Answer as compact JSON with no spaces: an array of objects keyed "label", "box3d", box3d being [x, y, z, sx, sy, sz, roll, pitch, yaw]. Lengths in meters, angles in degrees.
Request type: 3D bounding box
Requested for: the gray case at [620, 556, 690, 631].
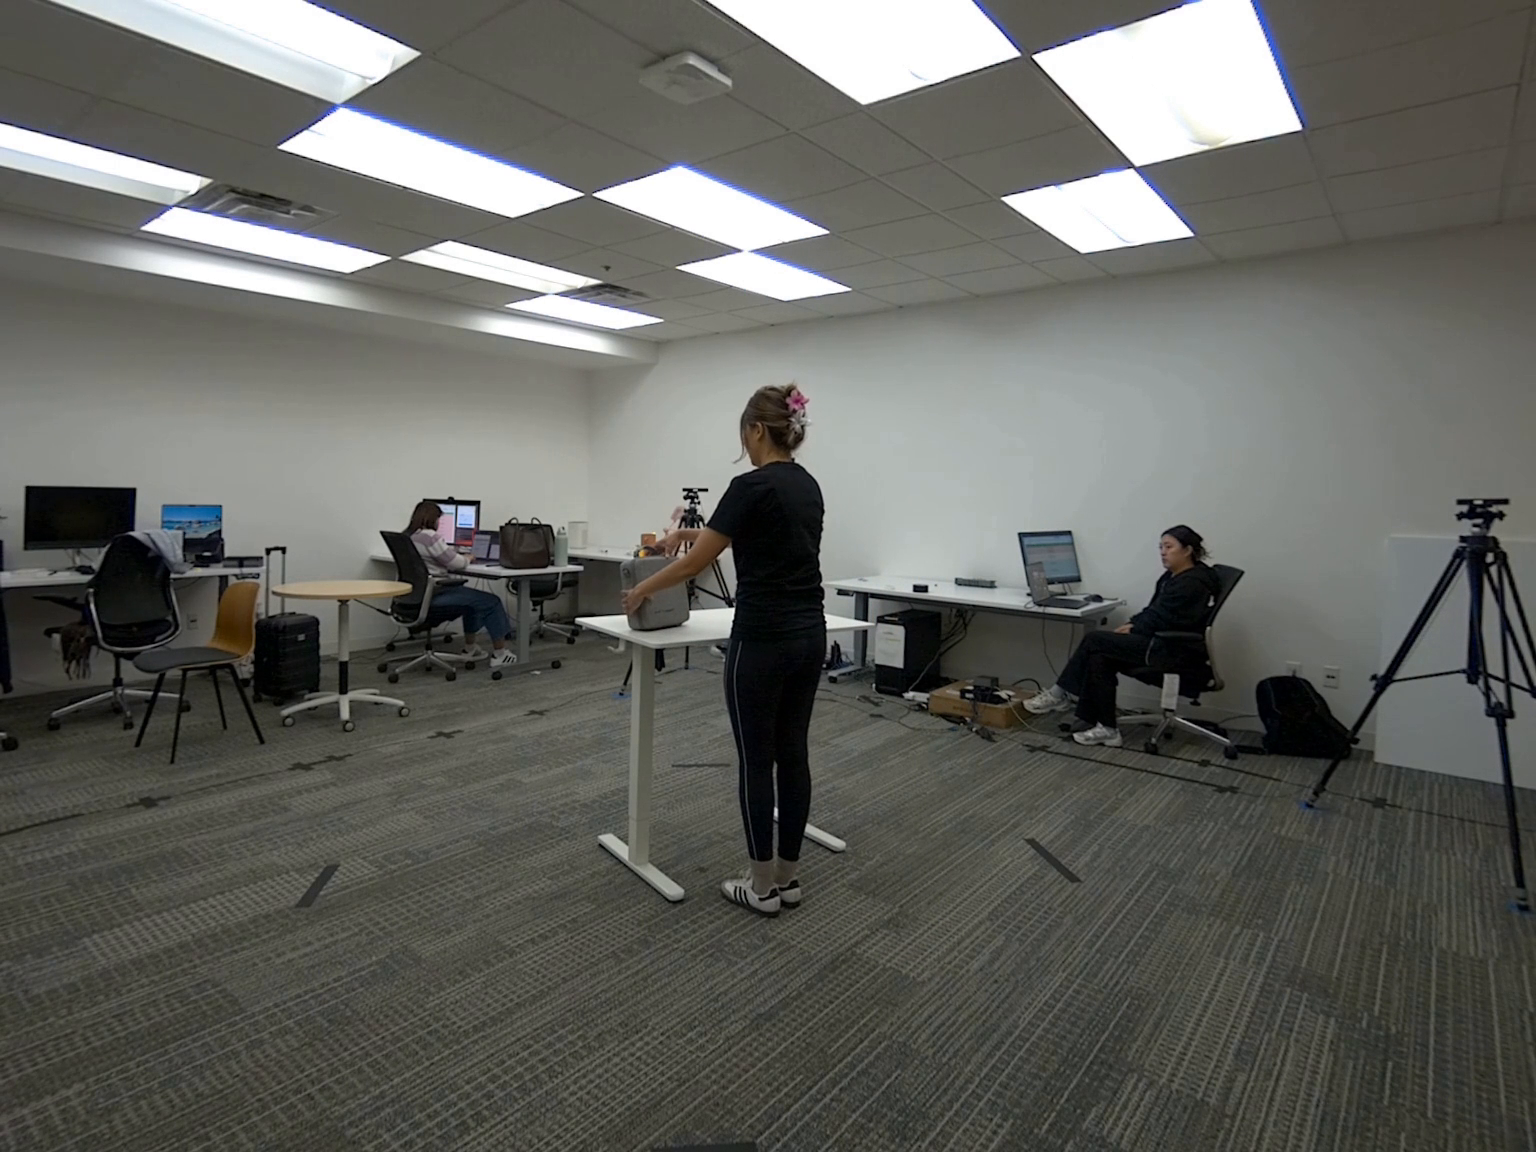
[{"label":"gray case","box3d":[-0.417,0.052,3.083,0.107,0.263,0.249,-13,-8,37]}]
